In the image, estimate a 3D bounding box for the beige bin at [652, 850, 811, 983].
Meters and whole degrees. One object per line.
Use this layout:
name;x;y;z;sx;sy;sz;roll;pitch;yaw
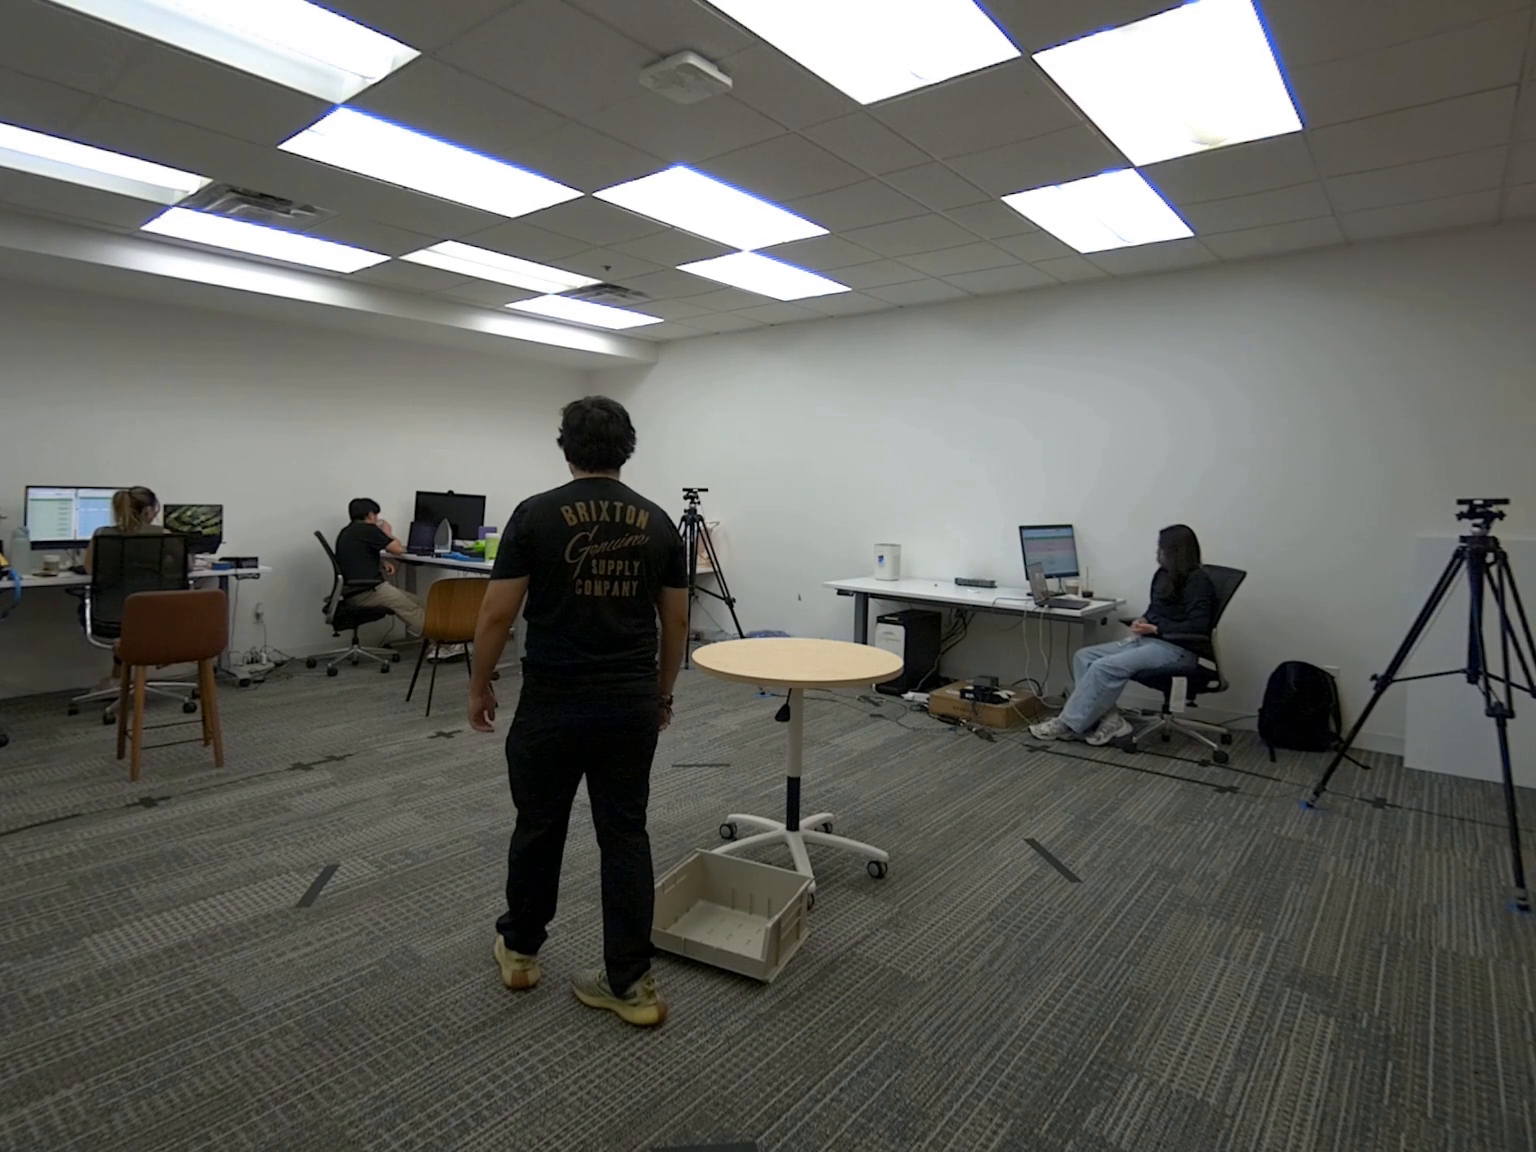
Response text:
beige bin;-0.127;1.034;2.599;0.433;0.188;0.368;3;4;25
